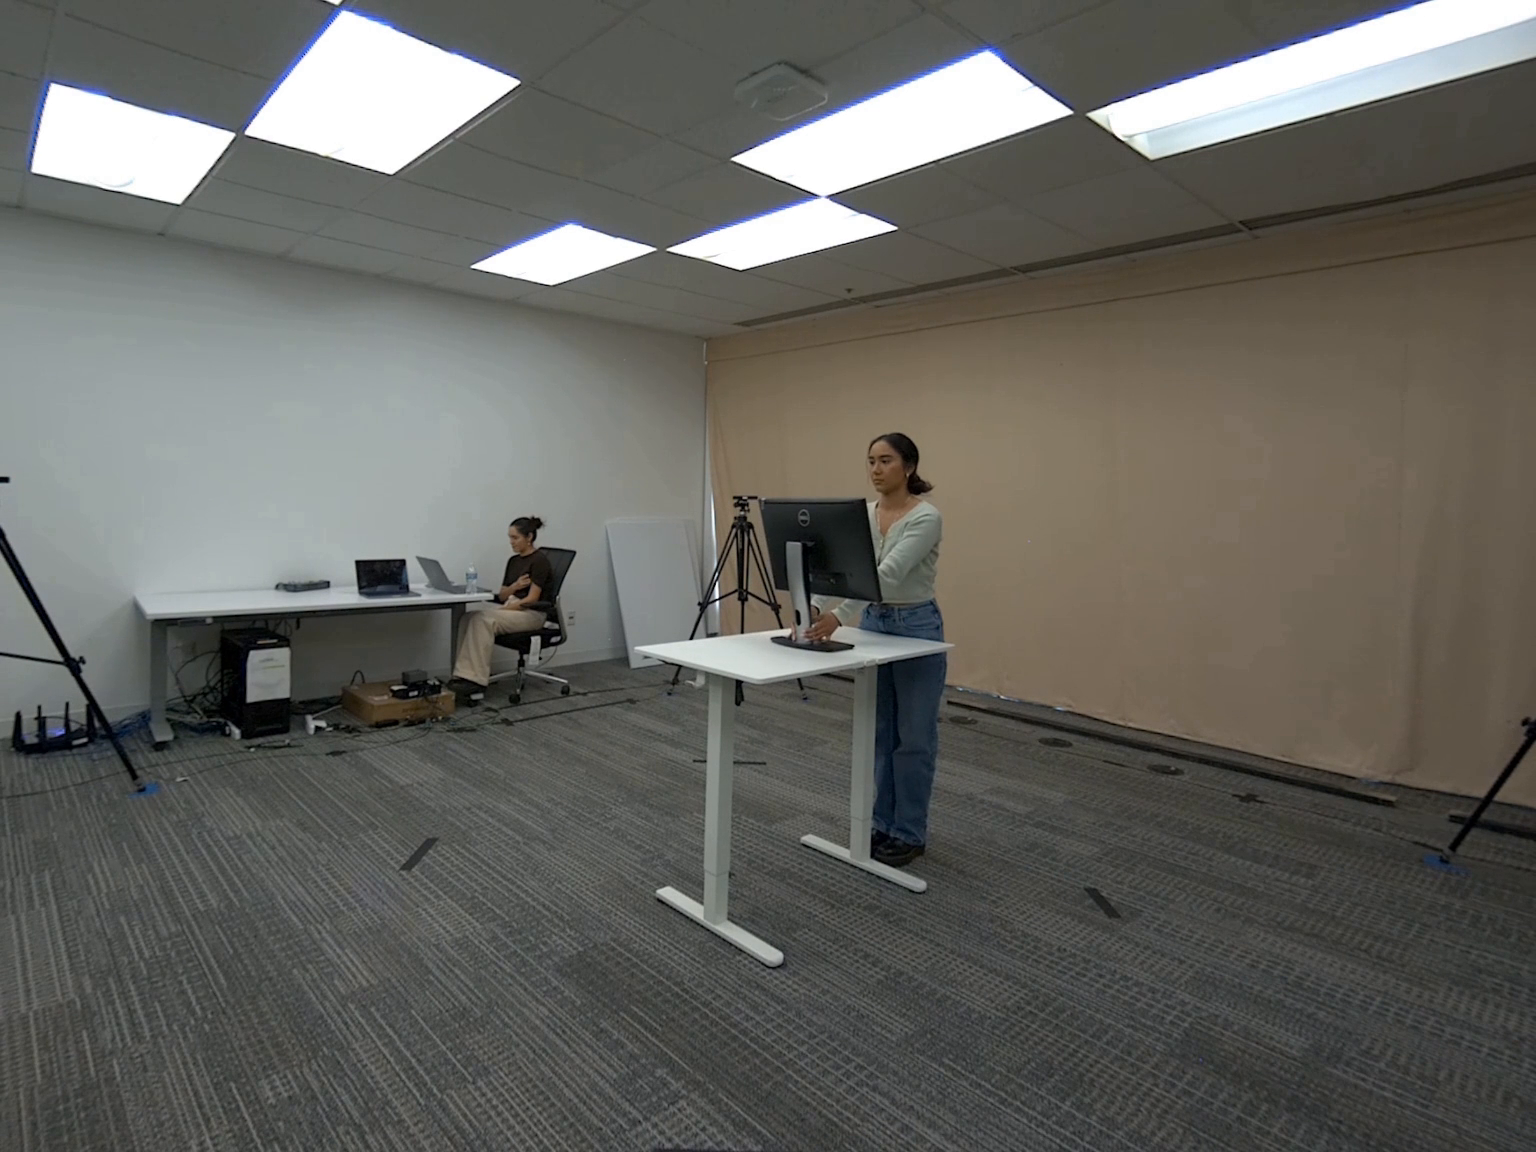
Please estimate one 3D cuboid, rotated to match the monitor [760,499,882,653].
[{"bbox_3d":[0.135,-0.007,2.912,0.183,0.521,0.553,-2,5,-40],"label":"monitor"}]
